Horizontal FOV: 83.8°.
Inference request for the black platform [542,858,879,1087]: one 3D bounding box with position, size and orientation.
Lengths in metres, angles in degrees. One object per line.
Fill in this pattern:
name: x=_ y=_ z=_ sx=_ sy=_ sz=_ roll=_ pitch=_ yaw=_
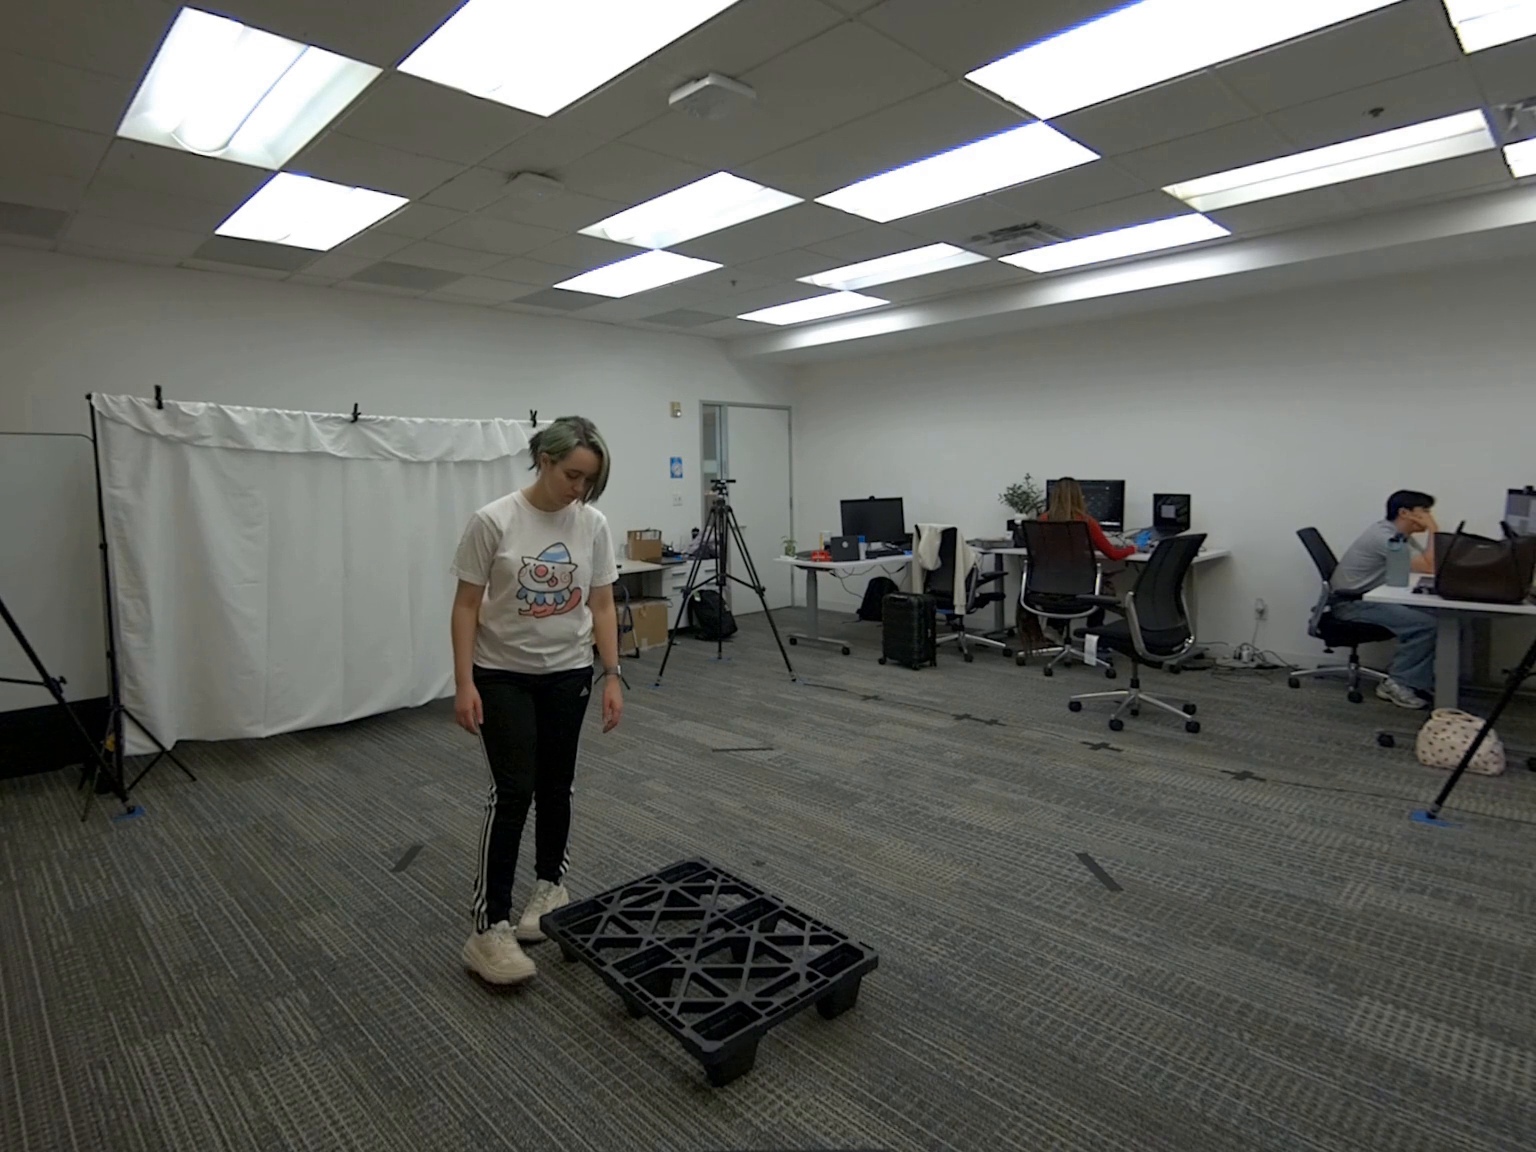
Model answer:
black platform: x=-0.182 y=1.066 z=2.396 sx=0.589 sy=0.143 sz=0.831 roll=-6 pitch=8 yaw=-41
